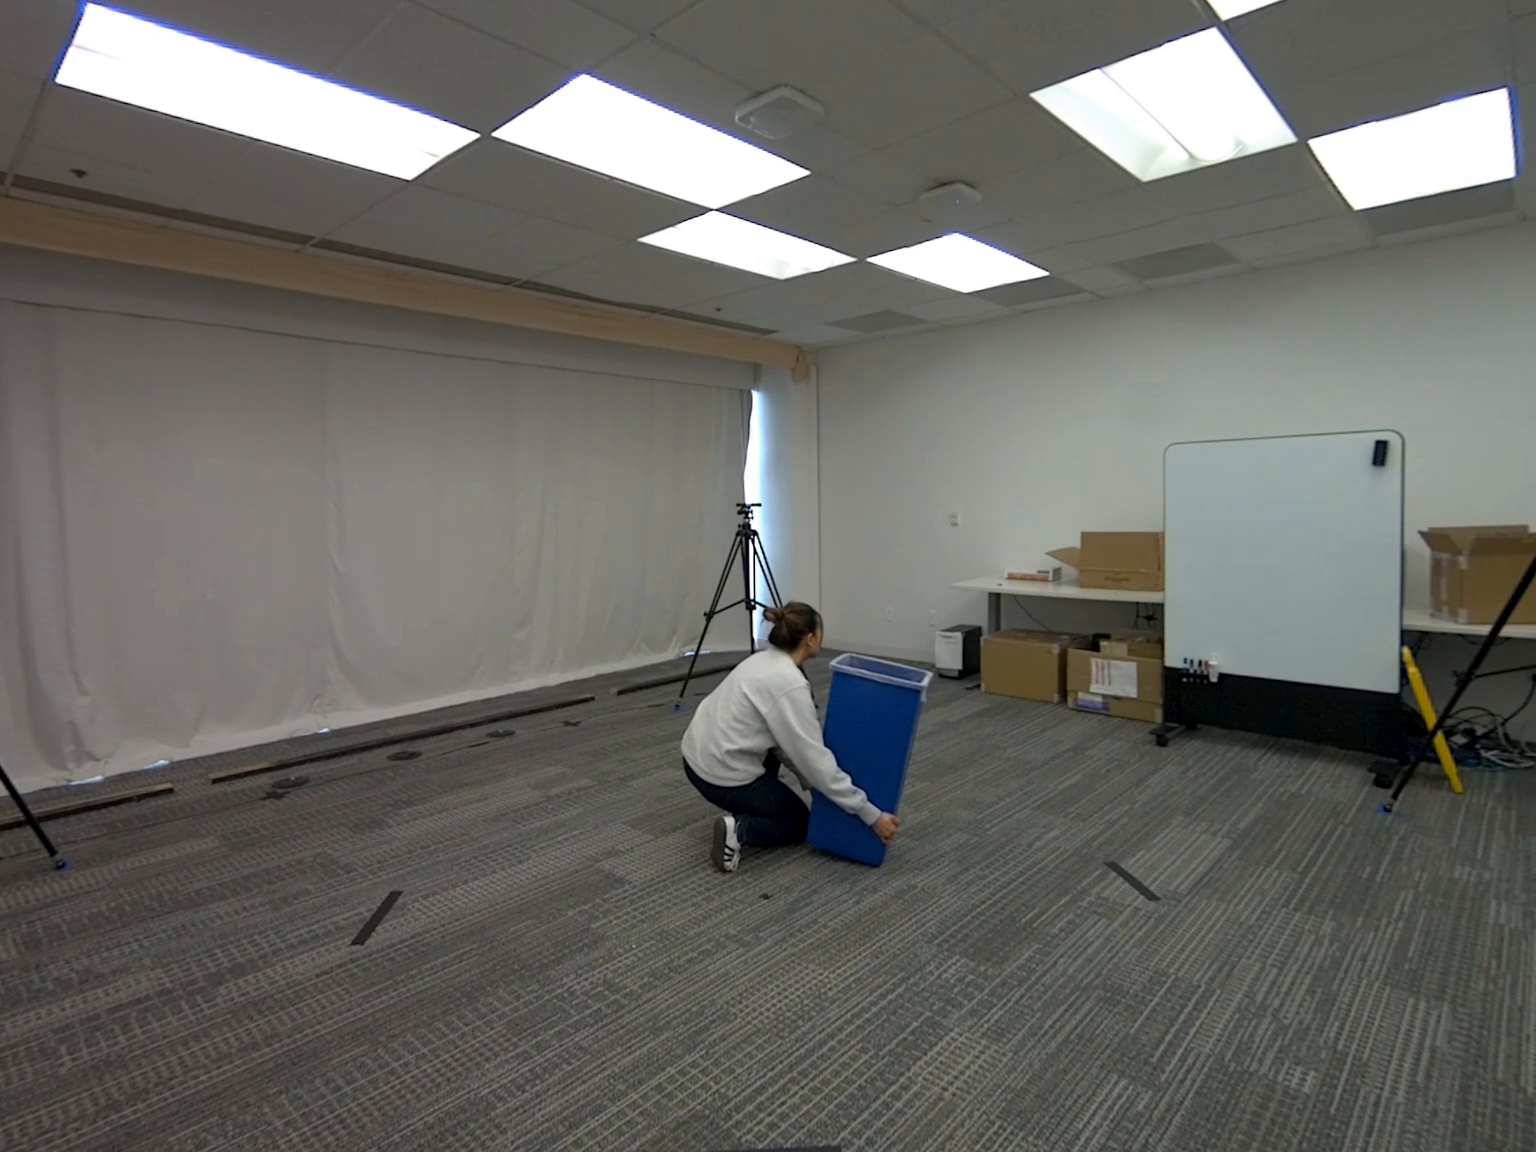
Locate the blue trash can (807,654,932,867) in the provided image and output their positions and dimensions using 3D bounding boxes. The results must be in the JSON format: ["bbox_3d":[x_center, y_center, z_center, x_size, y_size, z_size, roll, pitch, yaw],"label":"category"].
[{"bbox_3d":[0.391,0.709,3.342,0.382,0.712,0.371,12,4,17],"label":"blue trash can"}]
